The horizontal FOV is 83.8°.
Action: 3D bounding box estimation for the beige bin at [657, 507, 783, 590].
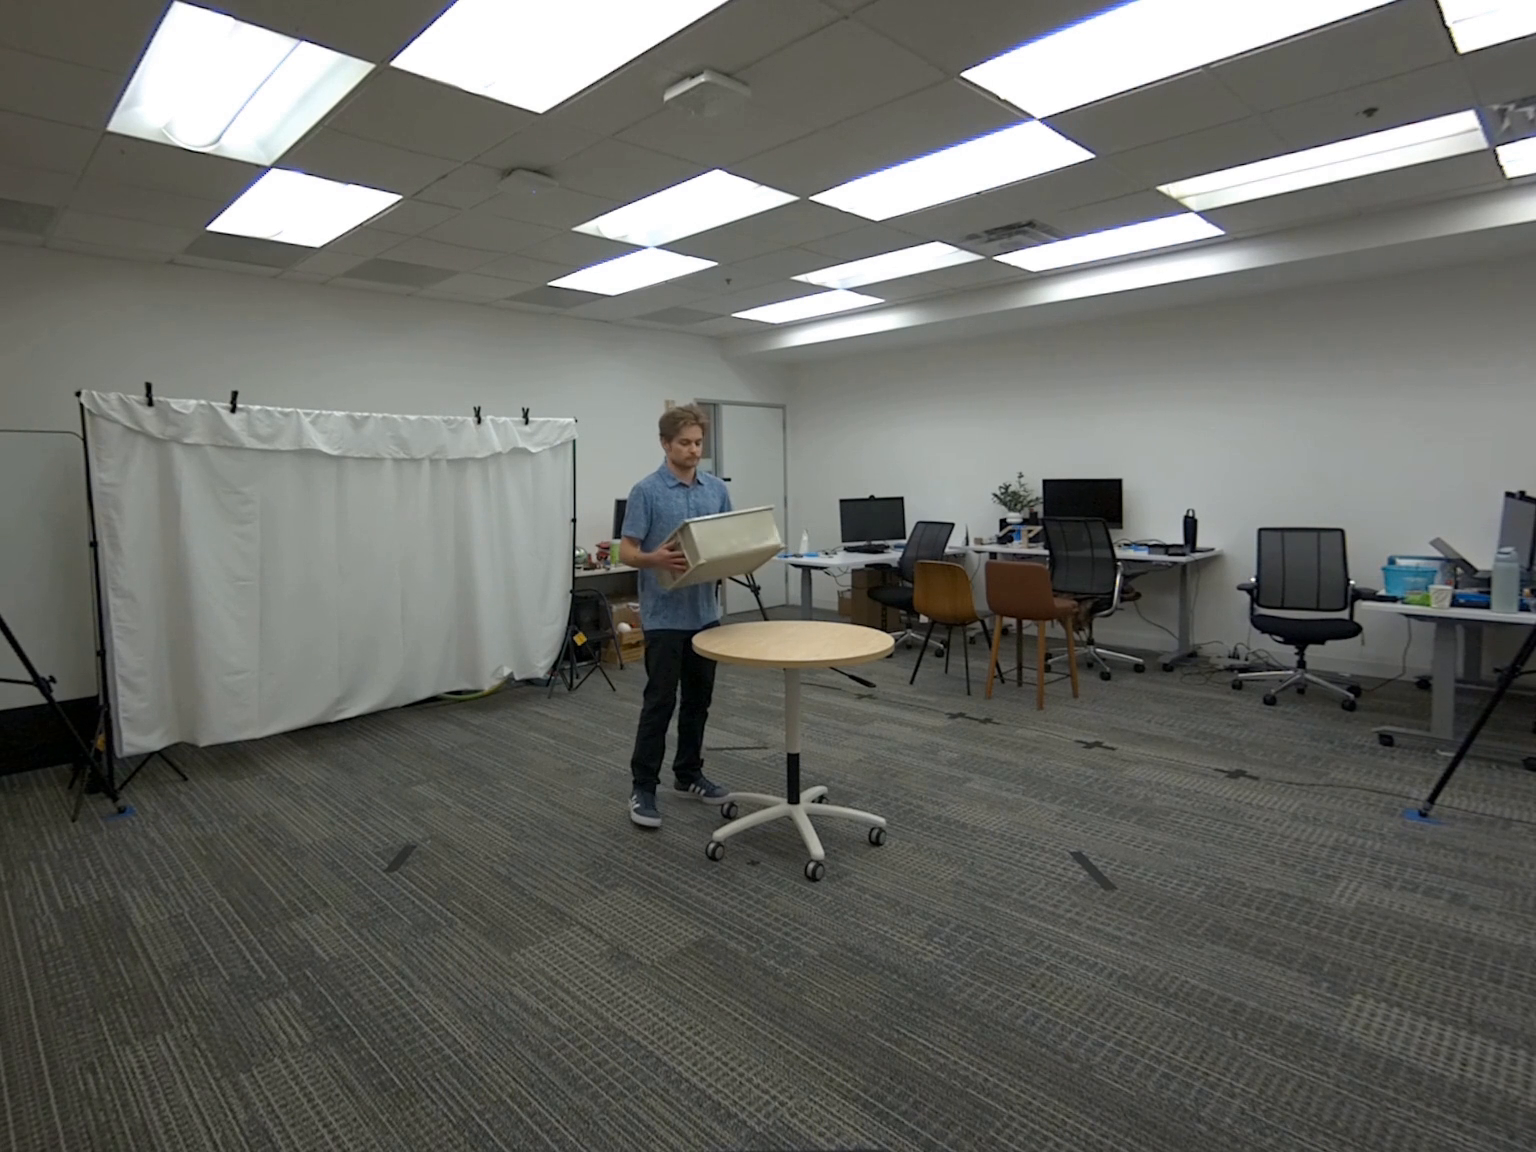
[{"bbox_3d":[-0.206,-0.098,3.469,0.413,0.192,0.379,-12,-14,-33],"label":"beige bin"}]
